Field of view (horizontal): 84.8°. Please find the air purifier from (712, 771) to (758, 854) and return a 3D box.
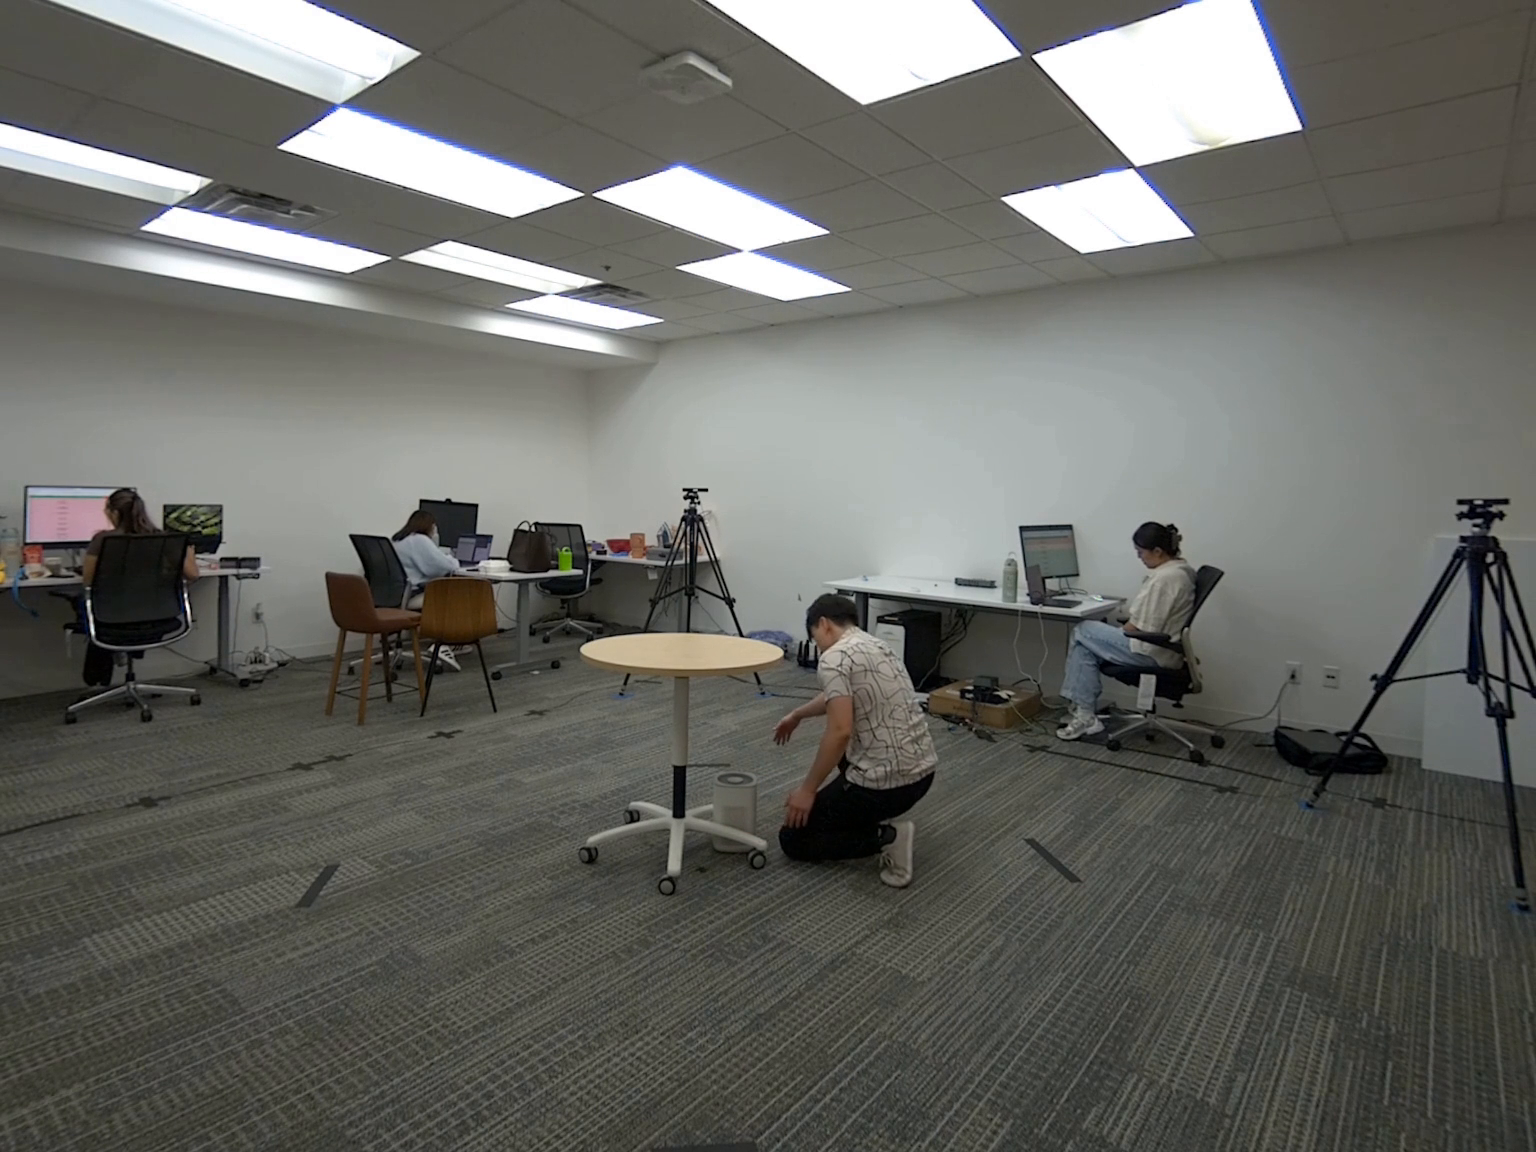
[{"bbox_3d":[-0.135,0.917,3.325,0.171,0.264,0.172,0,4,-3],"label":"air purifier"}]
